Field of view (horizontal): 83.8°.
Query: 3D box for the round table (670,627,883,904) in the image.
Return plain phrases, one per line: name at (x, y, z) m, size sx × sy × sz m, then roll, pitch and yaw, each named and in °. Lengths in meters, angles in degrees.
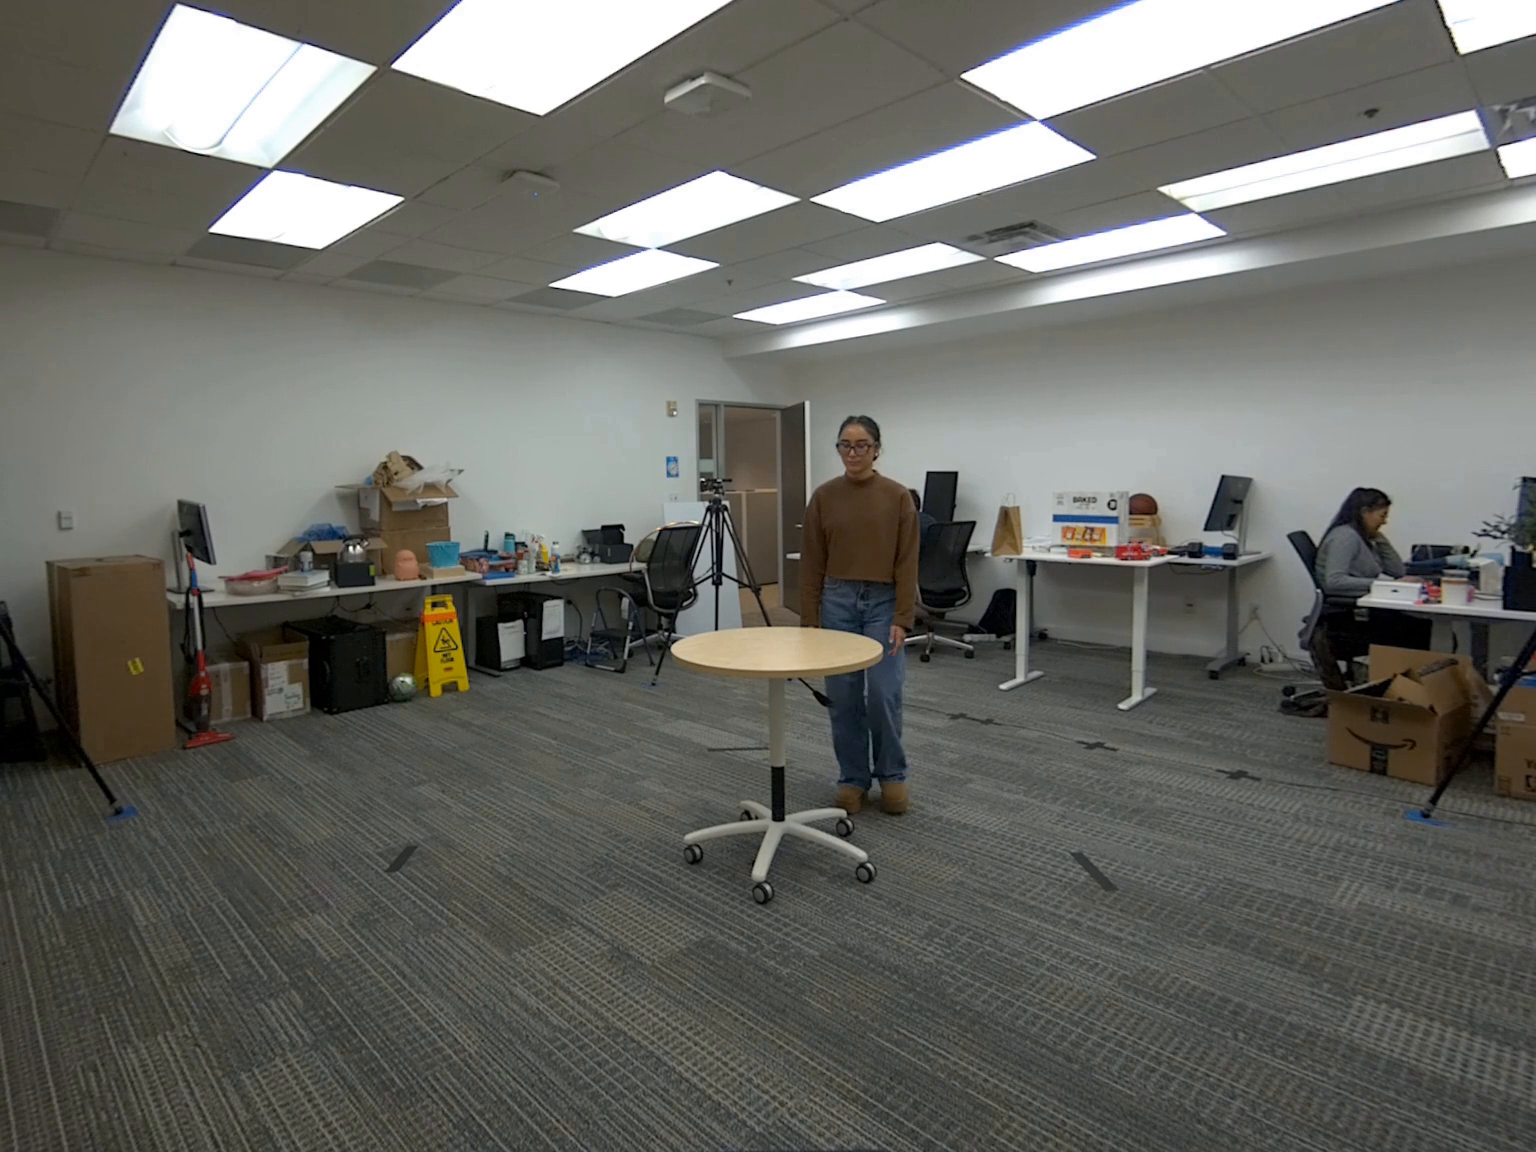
round table at (0.035, 0.648, 3.133) m, size 0.763 × 0.791 × 0.768 m, roll -1°, pitch 5°, yaw -2°
